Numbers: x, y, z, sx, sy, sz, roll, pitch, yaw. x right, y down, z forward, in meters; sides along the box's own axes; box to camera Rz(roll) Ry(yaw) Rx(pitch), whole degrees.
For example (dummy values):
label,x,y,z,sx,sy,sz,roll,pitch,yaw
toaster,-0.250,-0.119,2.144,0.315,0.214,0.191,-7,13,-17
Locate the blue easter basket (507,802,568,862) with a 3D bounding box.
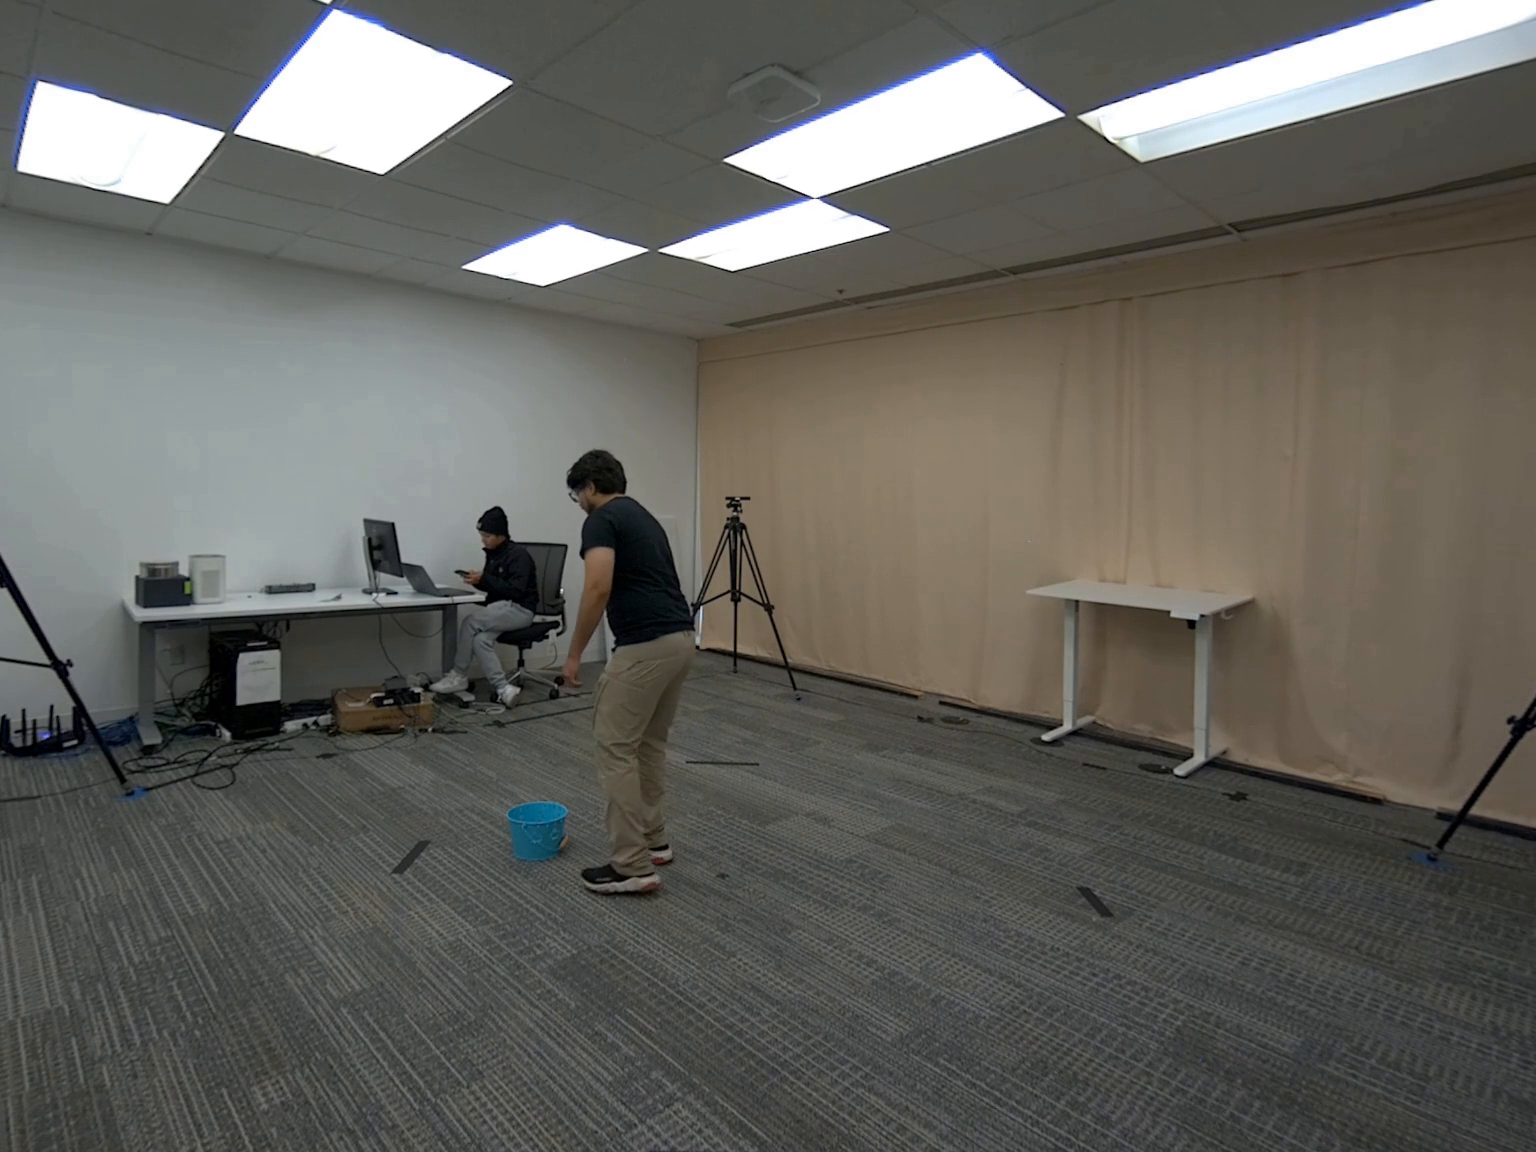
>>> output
label,x,y,z,sx,sy,sz,roll,pitch,yaw
blue easter basket,-0.902,0.994,3.279,0.243,0.155,0.244,1,5,-1
